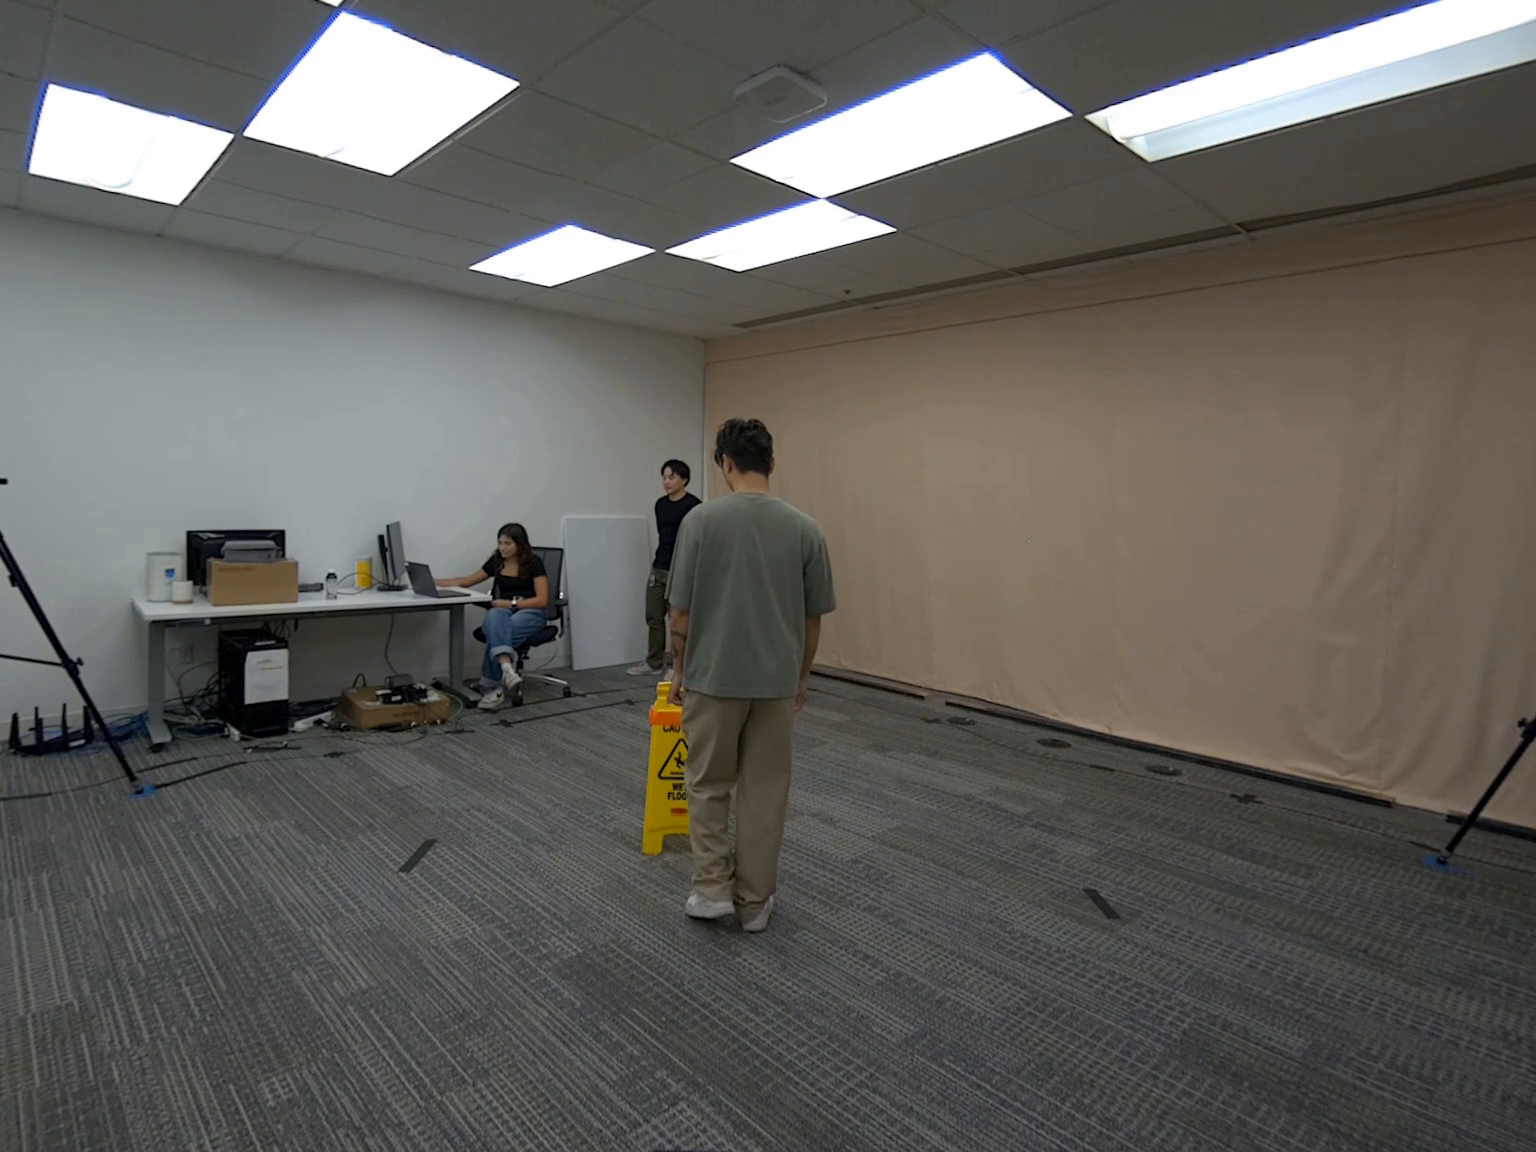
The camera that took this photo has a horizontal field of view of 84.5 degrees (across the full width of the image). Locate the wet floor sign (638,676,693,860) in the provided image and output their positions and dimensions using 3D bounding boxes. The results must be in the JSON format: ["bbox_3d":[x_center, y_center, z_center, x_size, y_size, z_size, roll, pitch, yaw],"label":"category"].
[{"bbox_3d":[-0.356,0.756,3.390,0.282,0.645,0.290,2,2,-2],"label":"wet floor sign"}]
